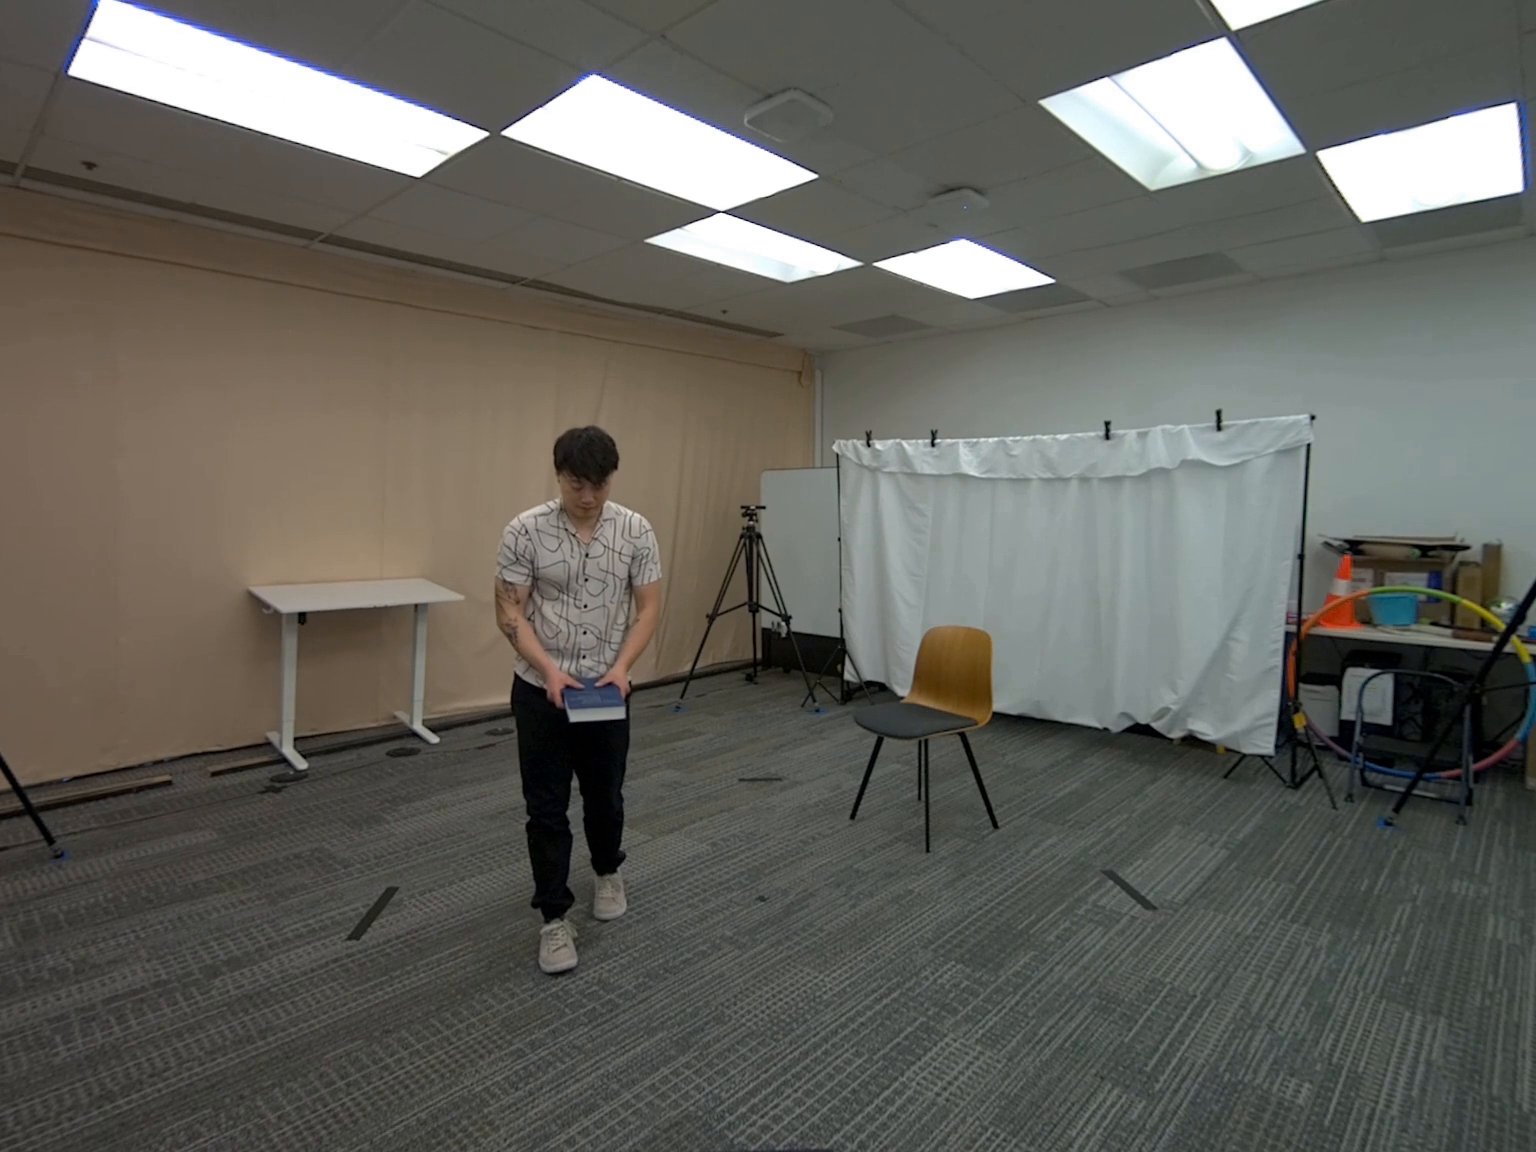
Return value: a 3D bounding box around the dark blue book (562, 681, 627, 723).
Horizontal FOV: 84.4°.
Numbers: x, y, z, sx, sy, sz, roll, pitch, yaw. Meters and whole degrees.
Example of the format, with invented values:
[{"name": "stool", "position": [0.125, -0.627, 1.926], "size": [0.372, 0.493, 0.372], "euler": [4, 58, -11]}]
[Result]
[{"name": "dark blue book", "position": [-0.503, 0.357, 2.450], "size": [0.161, 0.045, 0.249], "euler": [0, 12, -12]}]
